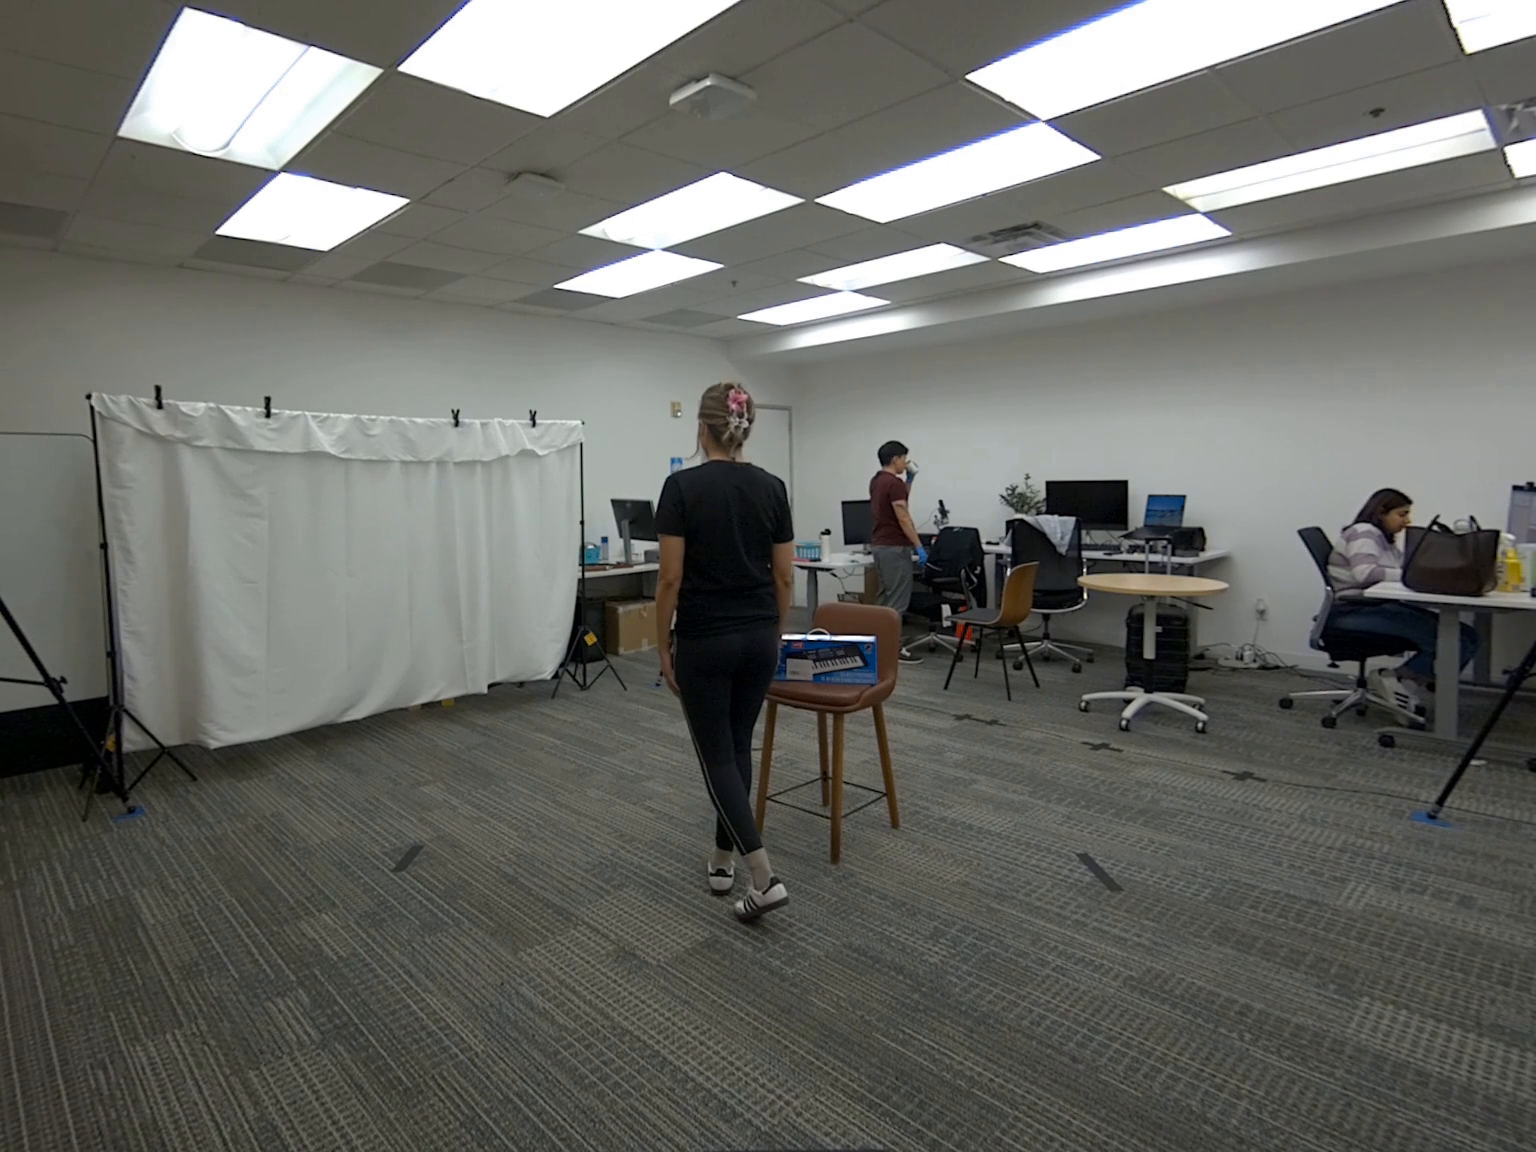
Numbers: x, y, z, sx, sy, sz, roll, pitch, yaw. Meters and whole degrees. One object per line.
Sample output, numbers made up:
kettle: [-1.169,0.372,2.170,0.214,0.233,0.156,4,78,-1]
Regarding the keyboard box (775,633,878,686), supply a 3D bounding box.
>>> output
keyboard box: [0.200,0.317,3.296,0.443,0.174,0.059,1,9,14]
